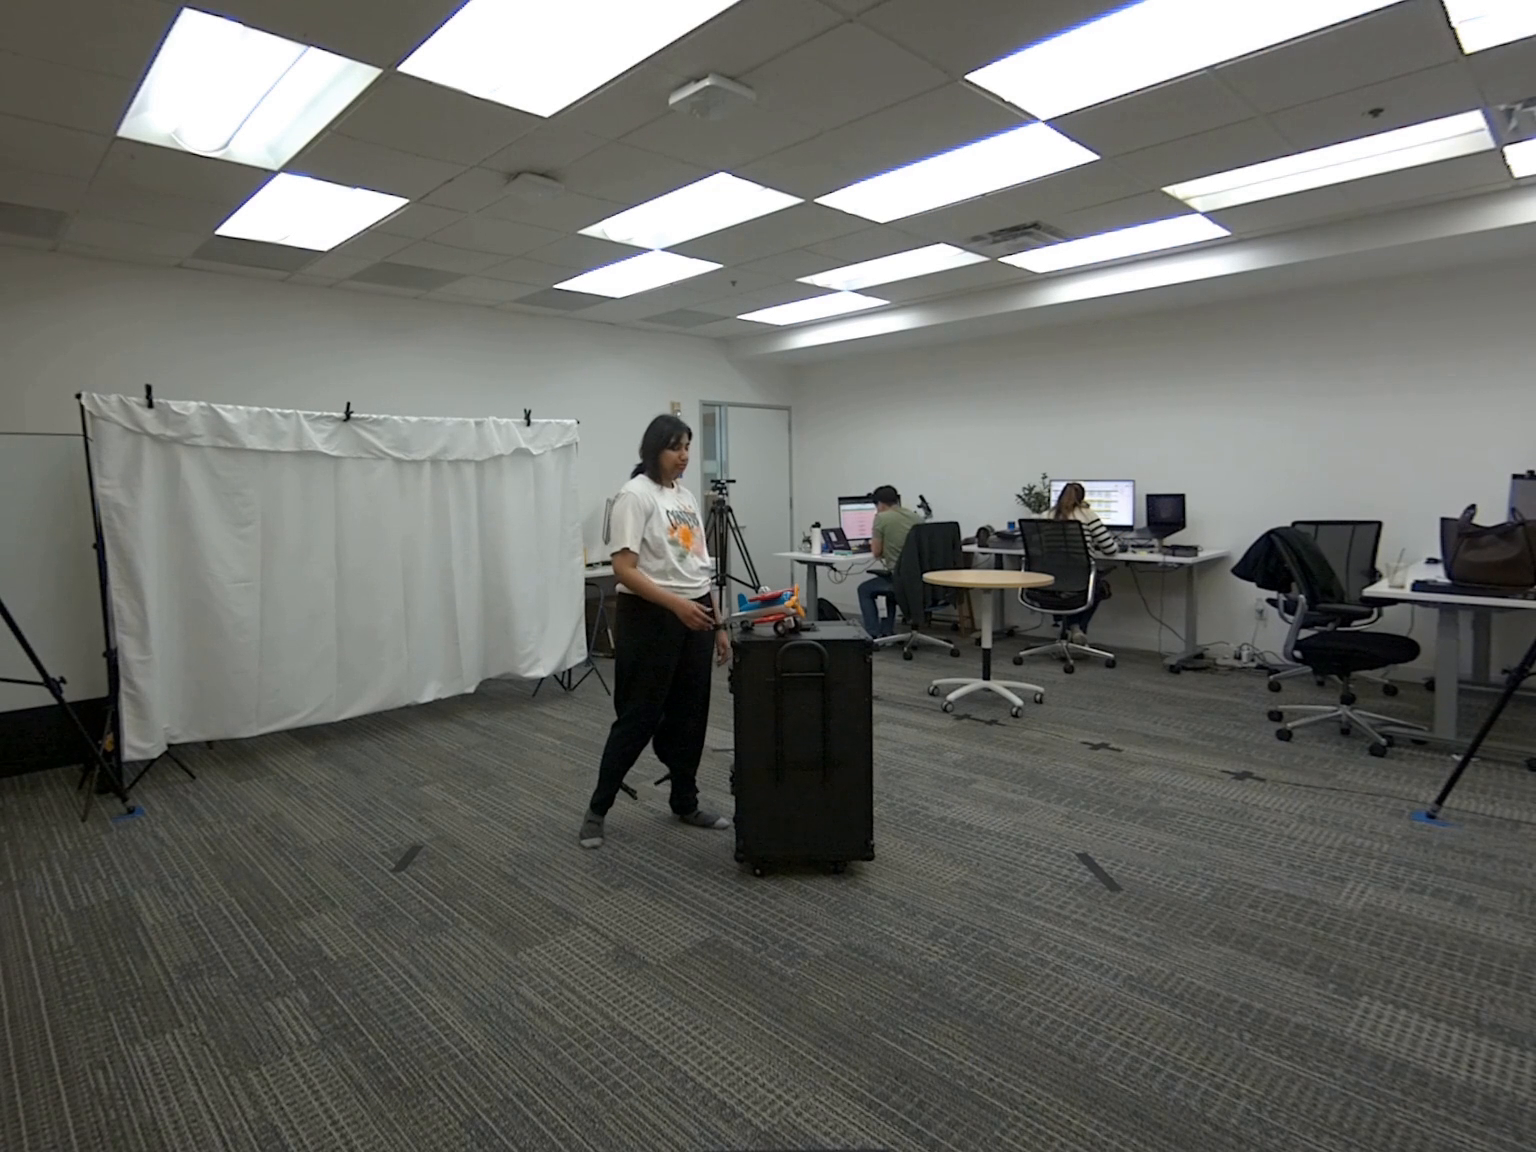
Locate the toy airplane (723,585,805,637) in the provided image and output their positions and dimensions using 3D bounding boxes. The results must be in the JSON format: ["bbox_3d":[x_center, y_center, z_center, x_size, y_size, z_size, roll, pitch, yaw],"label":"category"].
[{"bbox_3d":[0.000,0.121,3.056,0.261,0.156,0.250,-1,6,6],"label":"toy airplane"}]
